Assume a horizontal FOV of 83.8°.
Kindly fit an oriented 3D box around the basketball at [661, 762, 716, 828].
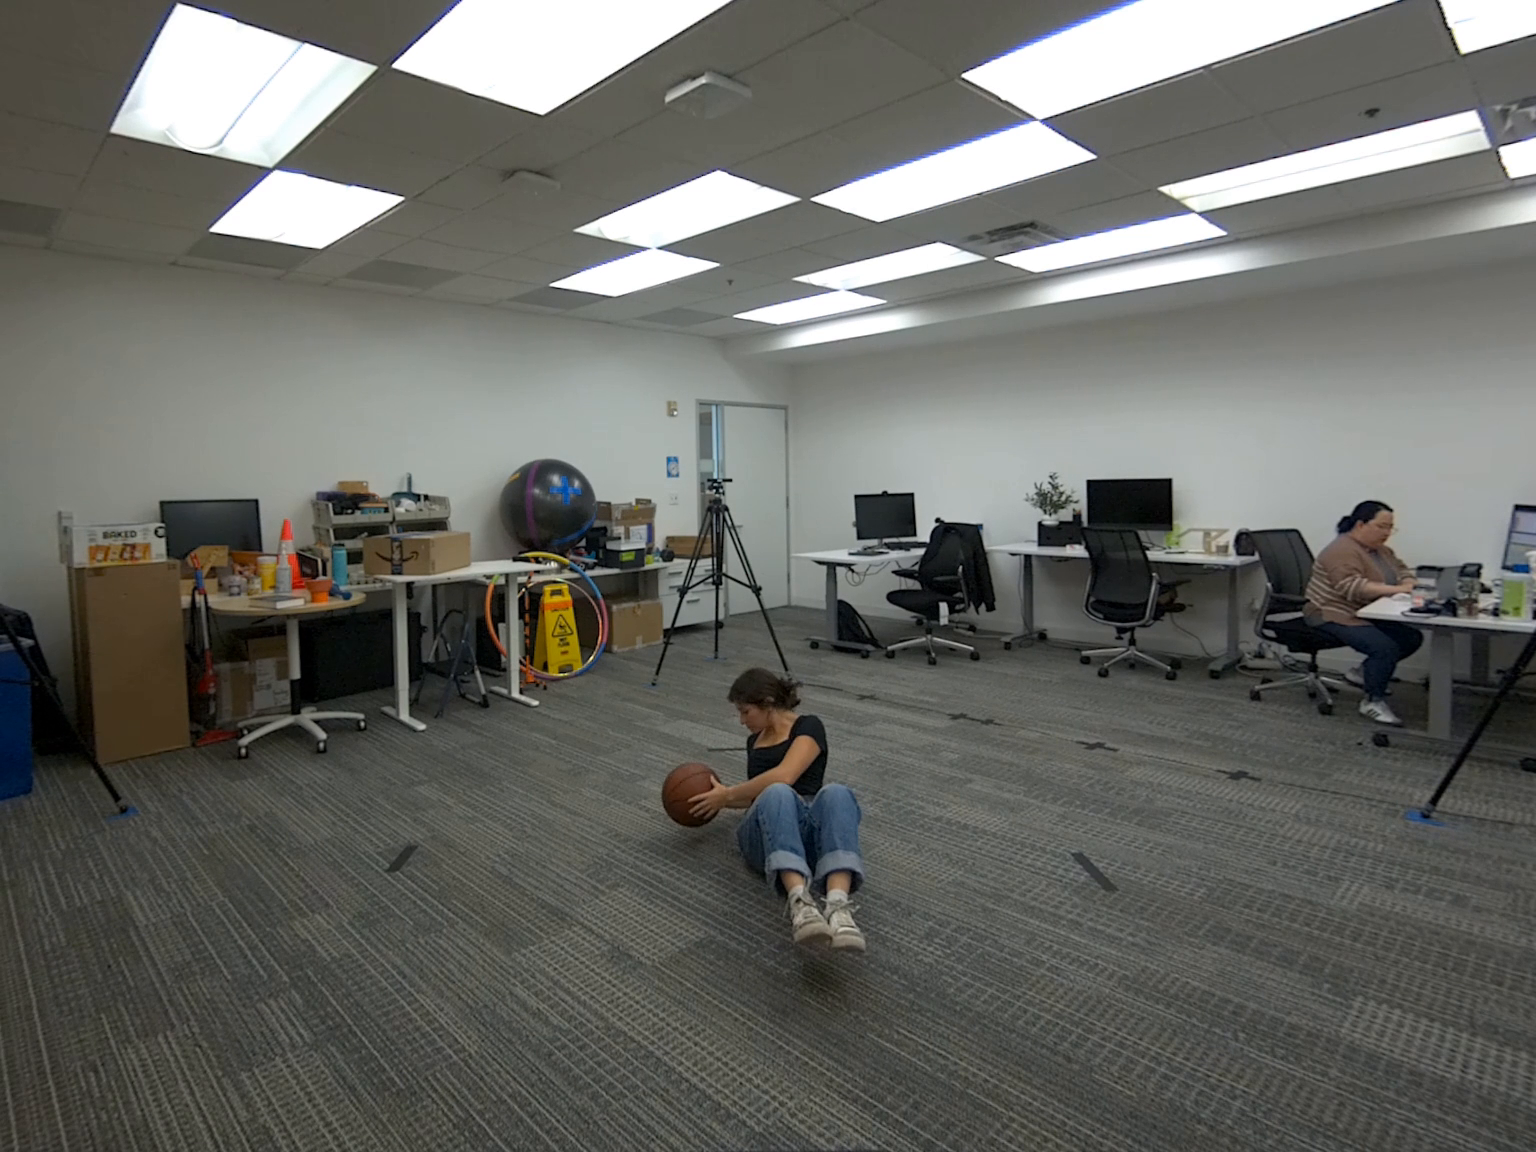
[{"bbox_3d":[-0.275,0.821,3.266,0.236,0.235,0.237,-1,5,-2],"label":"basketball"}]
